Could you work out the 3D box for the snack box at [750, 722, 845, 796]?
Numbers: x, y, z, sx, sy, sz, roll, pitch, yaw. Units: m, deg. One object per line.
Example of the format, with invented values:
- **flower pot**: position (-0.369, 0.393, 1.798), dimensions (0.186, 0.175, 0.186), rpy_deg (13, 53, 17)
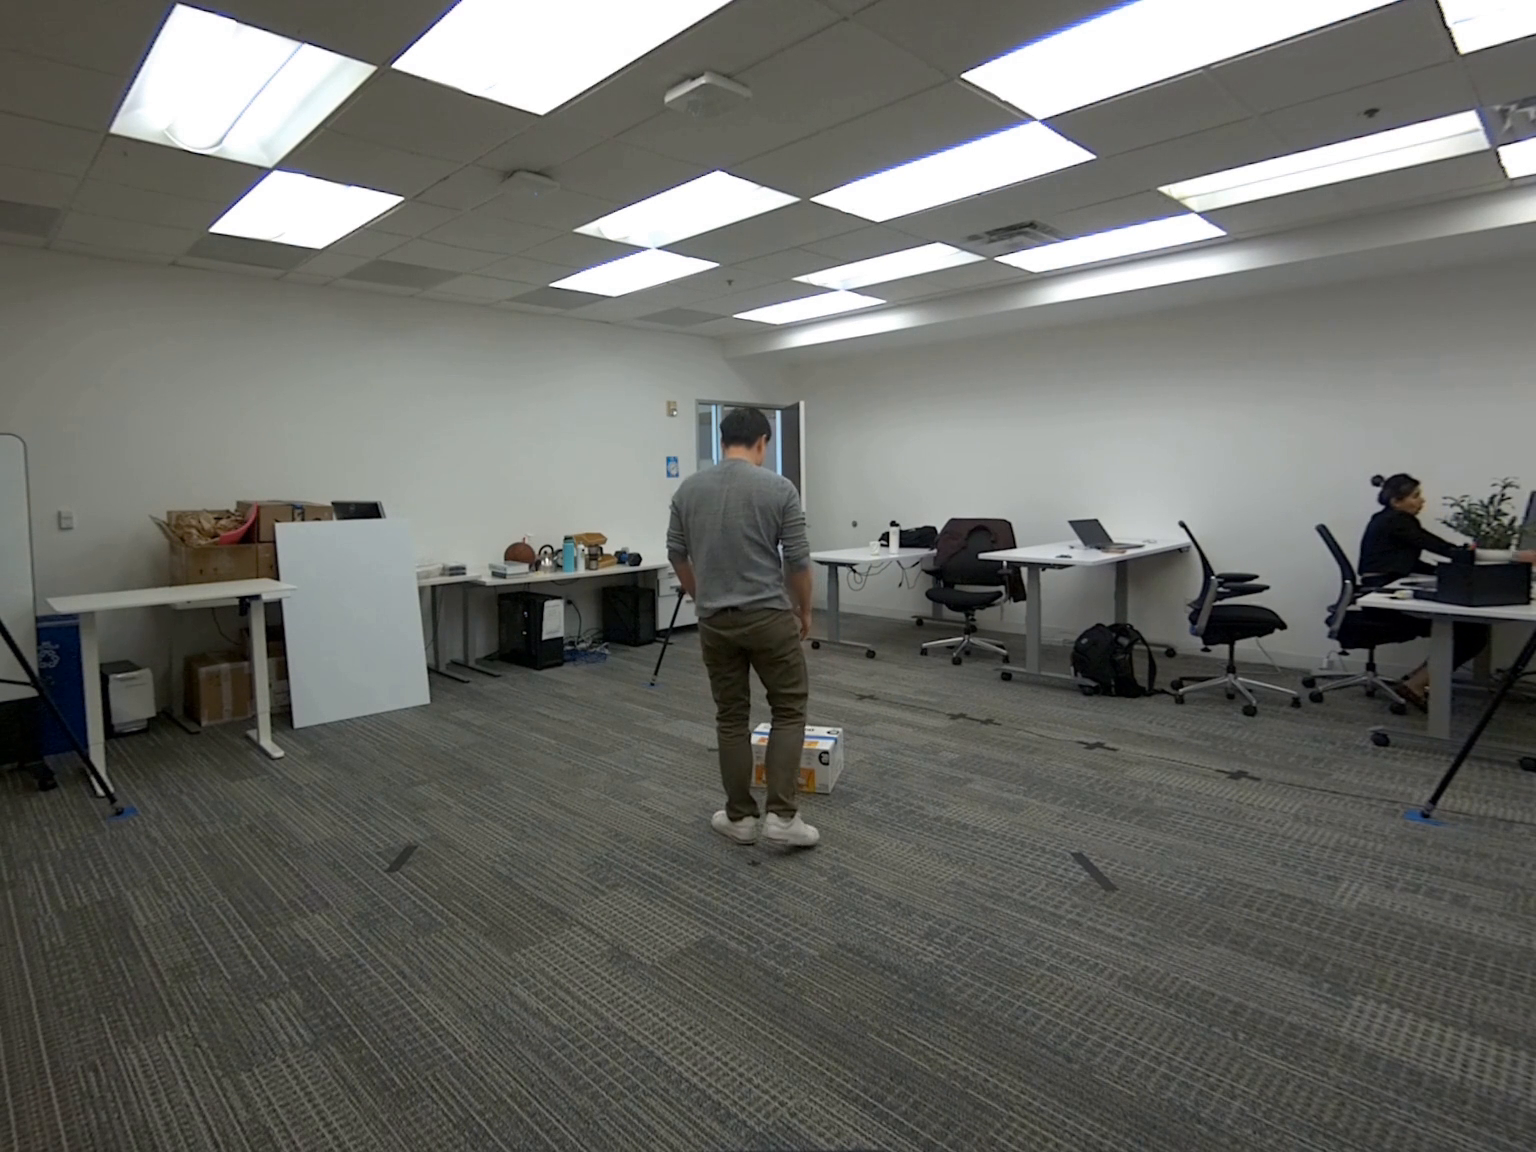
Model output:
- **snack box**: position (0.123, 0.838, 3.972), dimensions (0.412, 0.205, 0.336), rpy_deg (0, 6, 16)
